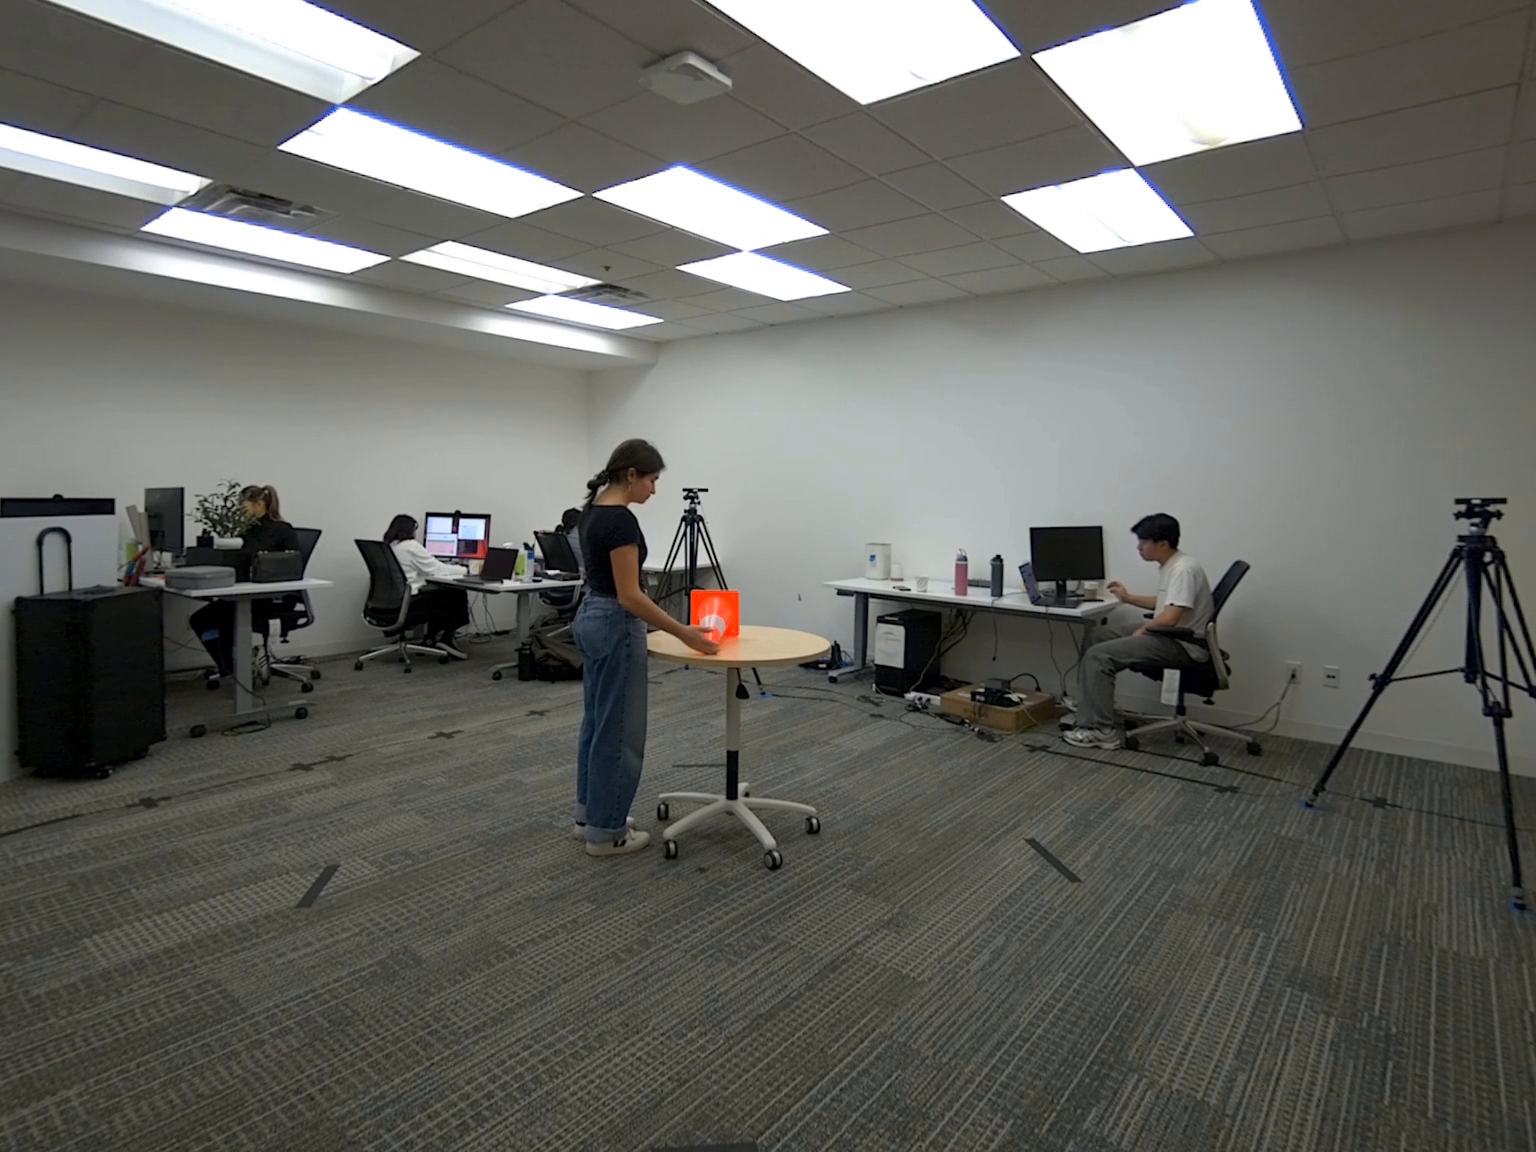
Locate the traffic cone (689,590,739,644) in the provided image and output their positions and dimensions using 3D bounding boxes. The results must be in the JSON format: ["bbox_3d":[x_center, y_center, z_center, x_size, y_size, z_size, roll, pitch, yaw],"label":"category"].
[{"bbox_3d":[-0.215,0.202,3.306,0.204,0.201,0.390,3,15,-5],"label":"traffic cone"}]
